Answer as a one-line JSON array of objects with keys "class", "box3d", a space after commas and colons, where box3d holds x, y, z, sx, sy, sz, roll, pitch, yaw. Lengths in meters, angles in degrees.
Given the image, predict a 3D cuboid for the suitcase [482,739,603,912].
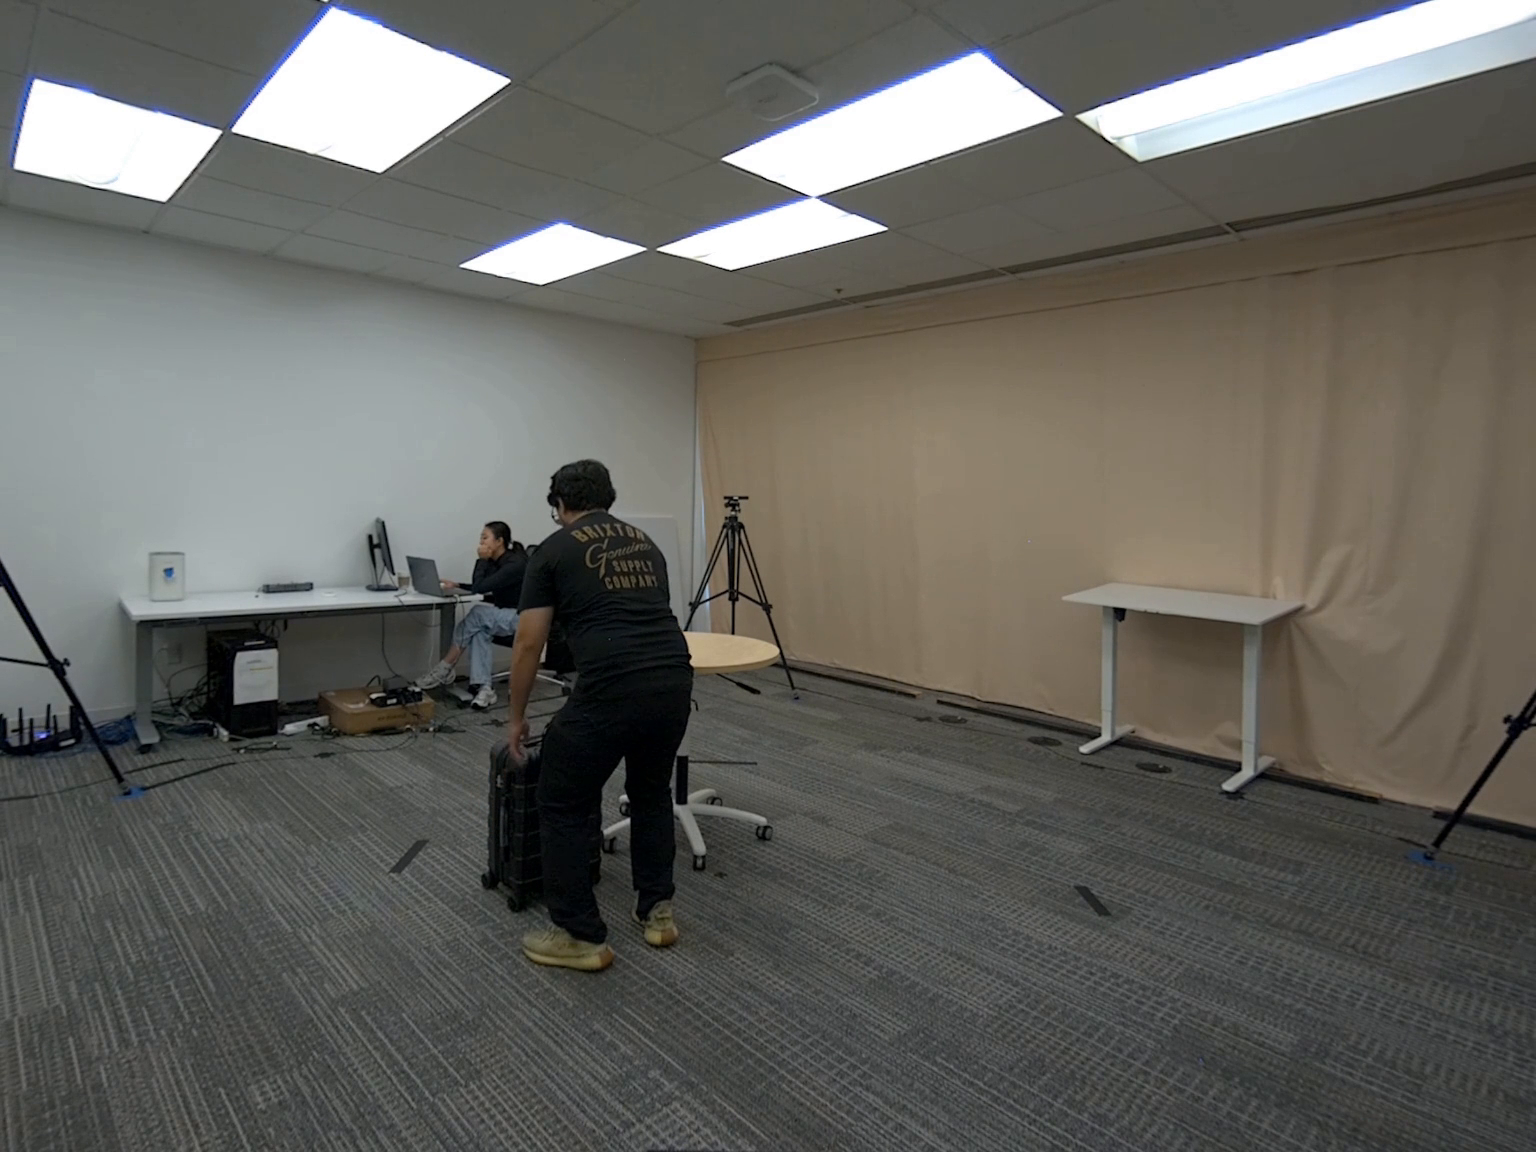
[{"class": "suitcase", "box3d": [-0.790, 0.828, 2.956, 0.367, 0.547, 0.255, -3, 7, -42]}]
